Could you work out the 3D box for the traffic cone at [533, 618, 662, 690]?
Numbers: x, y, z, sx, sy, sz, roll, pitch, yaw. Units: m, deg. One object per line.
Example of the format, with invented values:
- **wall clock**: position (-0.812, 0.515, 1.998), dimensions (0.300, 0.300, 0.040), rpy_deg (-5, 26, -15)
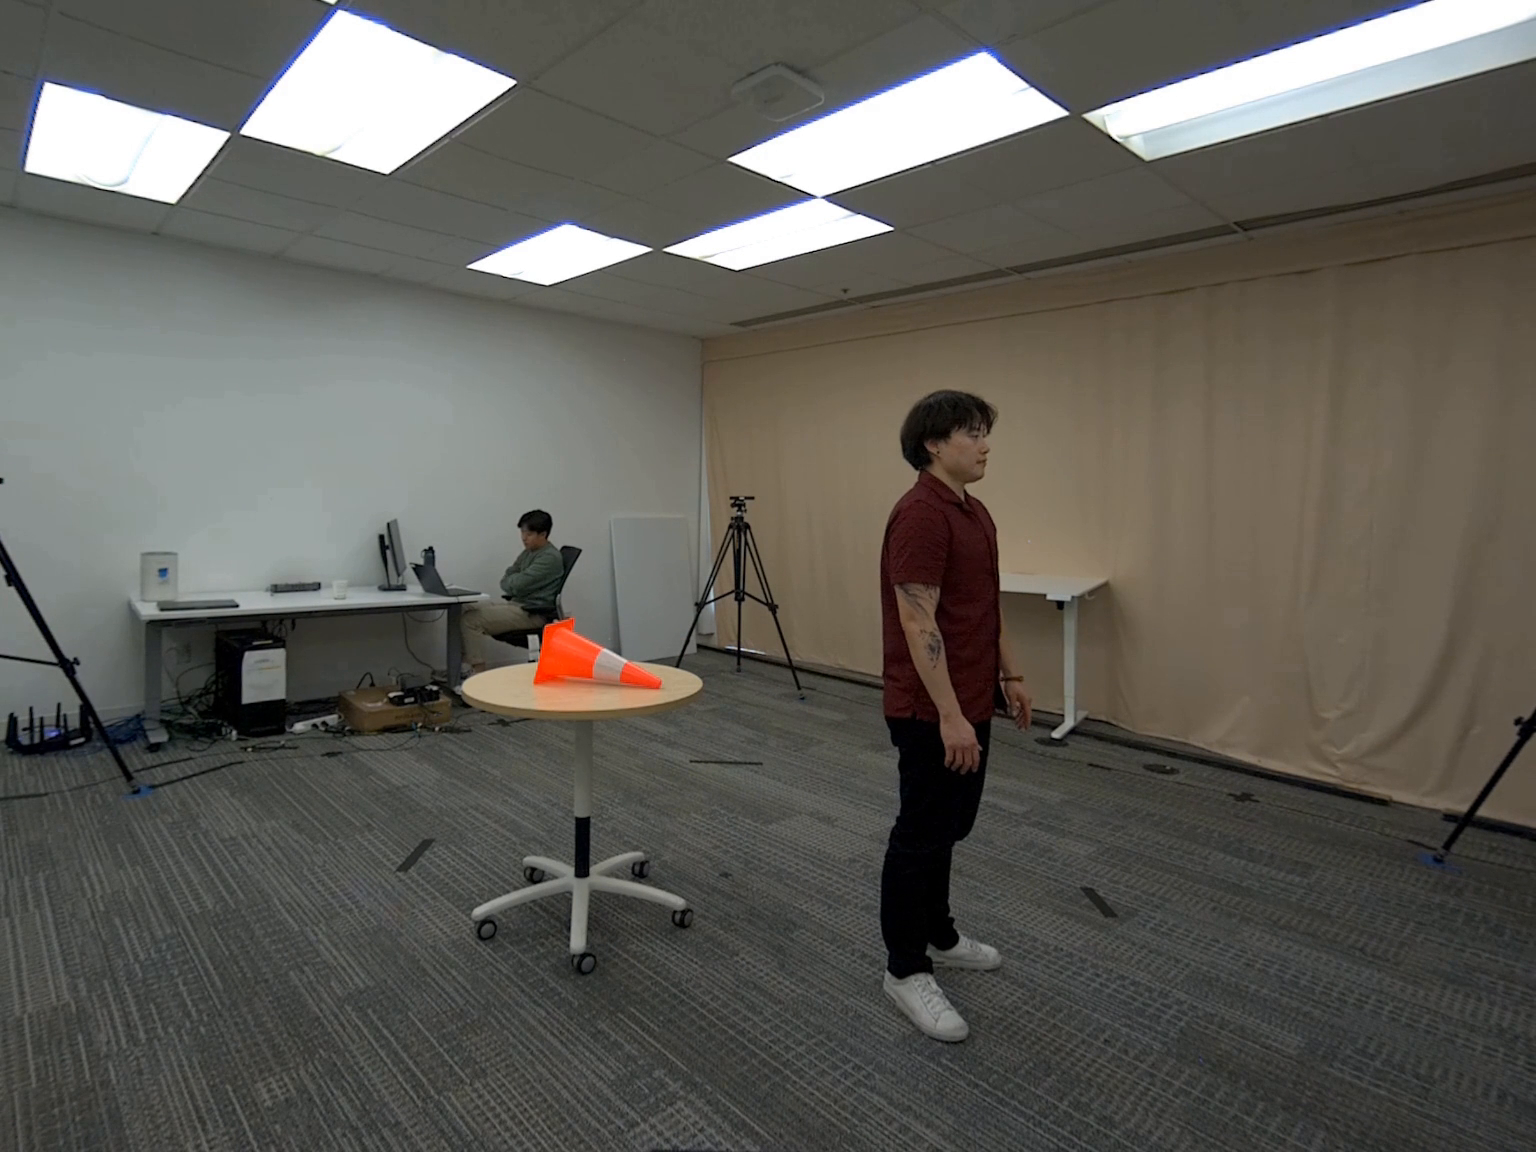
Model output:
- **traffic cone**: position (-0.525, 0.285, 2.694), dimensions (0.388, 0.203, 0.202), rpy_deg (12, 13, 12)
